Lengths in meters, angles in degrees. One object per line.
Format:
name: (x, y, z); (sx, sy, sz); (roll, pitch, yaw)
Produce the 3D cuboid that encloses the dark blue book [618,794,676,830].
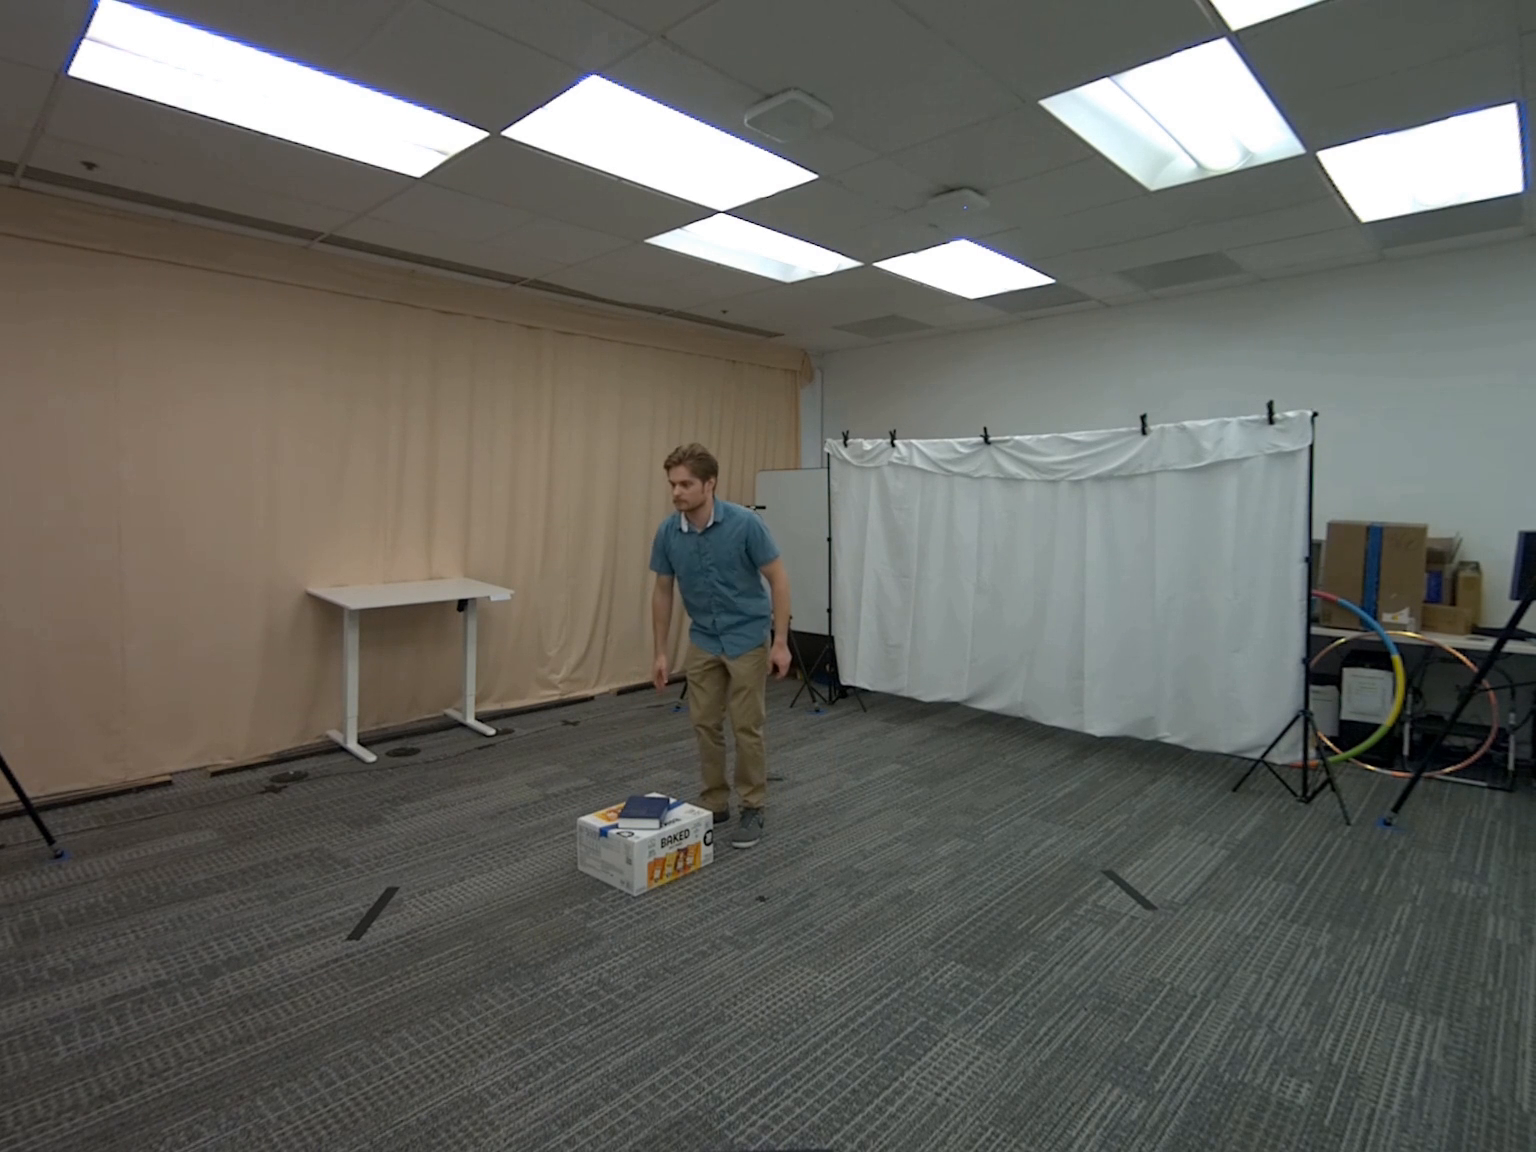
dark blue book: (-0.484, 0.913, 3.233); (0.164, 0.045, 0.244); (0, 4, 3)
